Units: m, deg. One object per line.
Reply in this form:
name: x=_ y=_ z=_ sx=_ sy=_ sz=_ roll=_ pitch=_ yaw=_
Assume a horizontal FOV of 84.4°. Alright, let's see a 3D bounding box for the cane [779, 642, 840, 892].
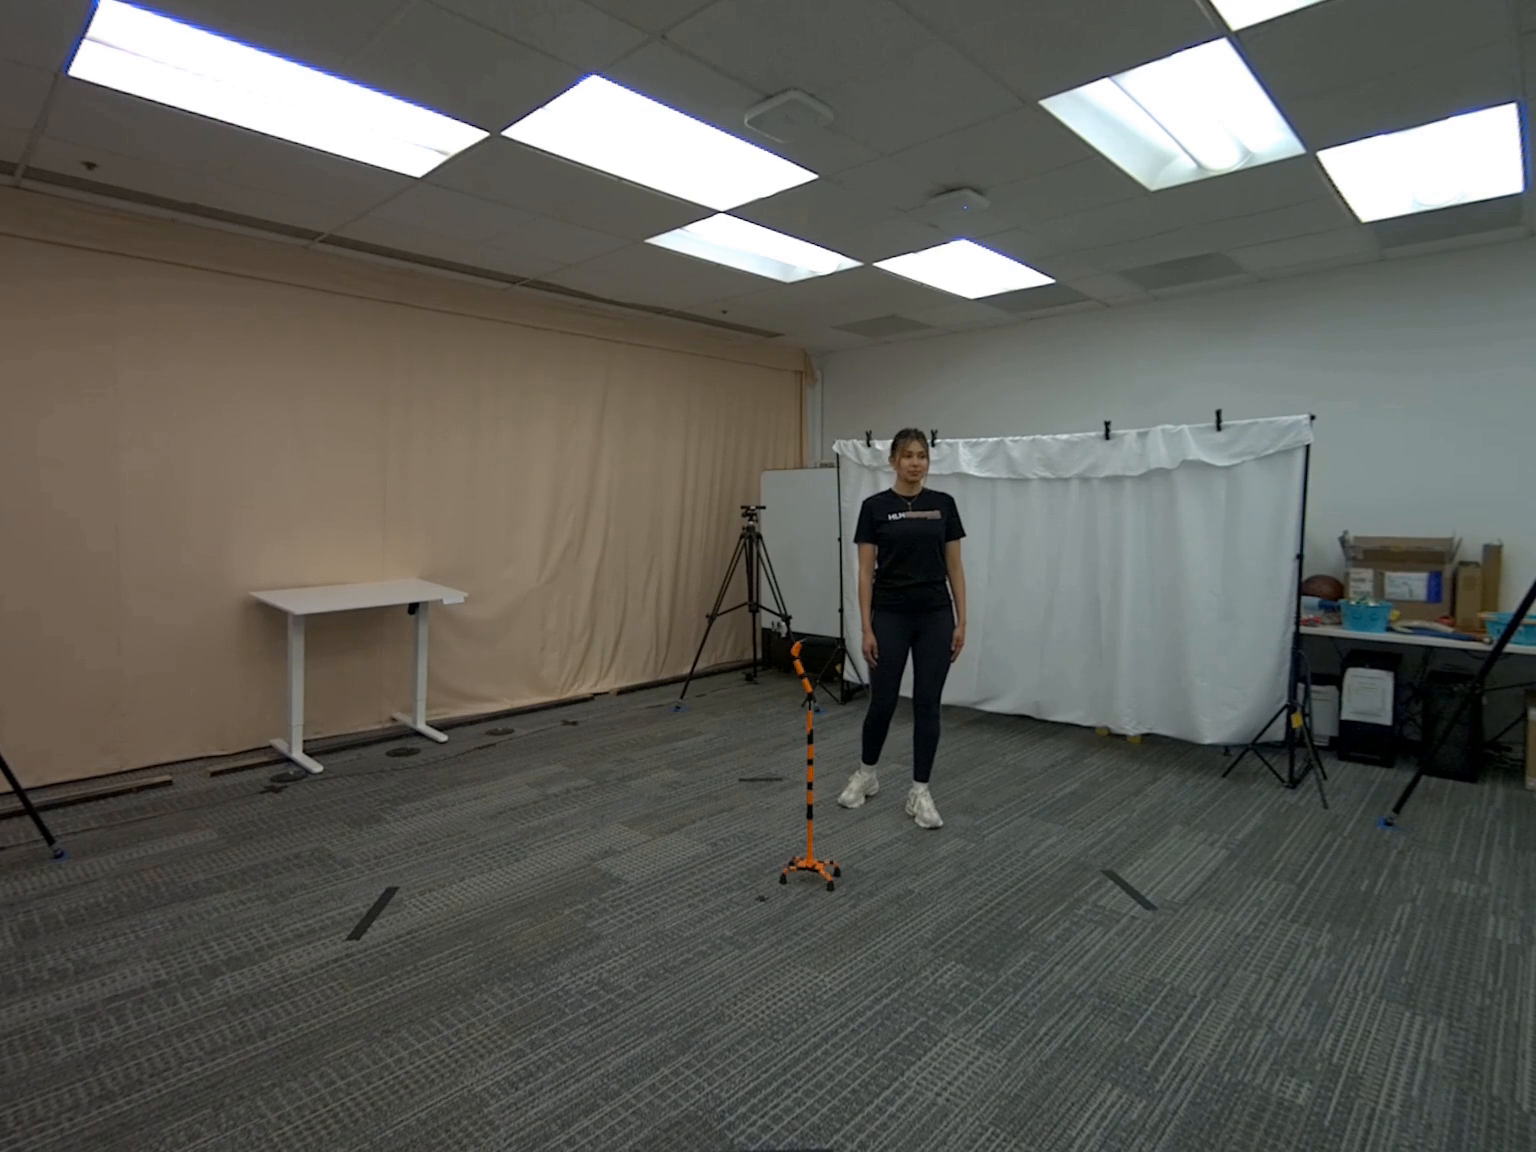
cane: x=0.158 y=0.680 z=3.110 sx=0.210 sy=0.906 sz=0.149 roll=0 pitch=3 yaw=14
